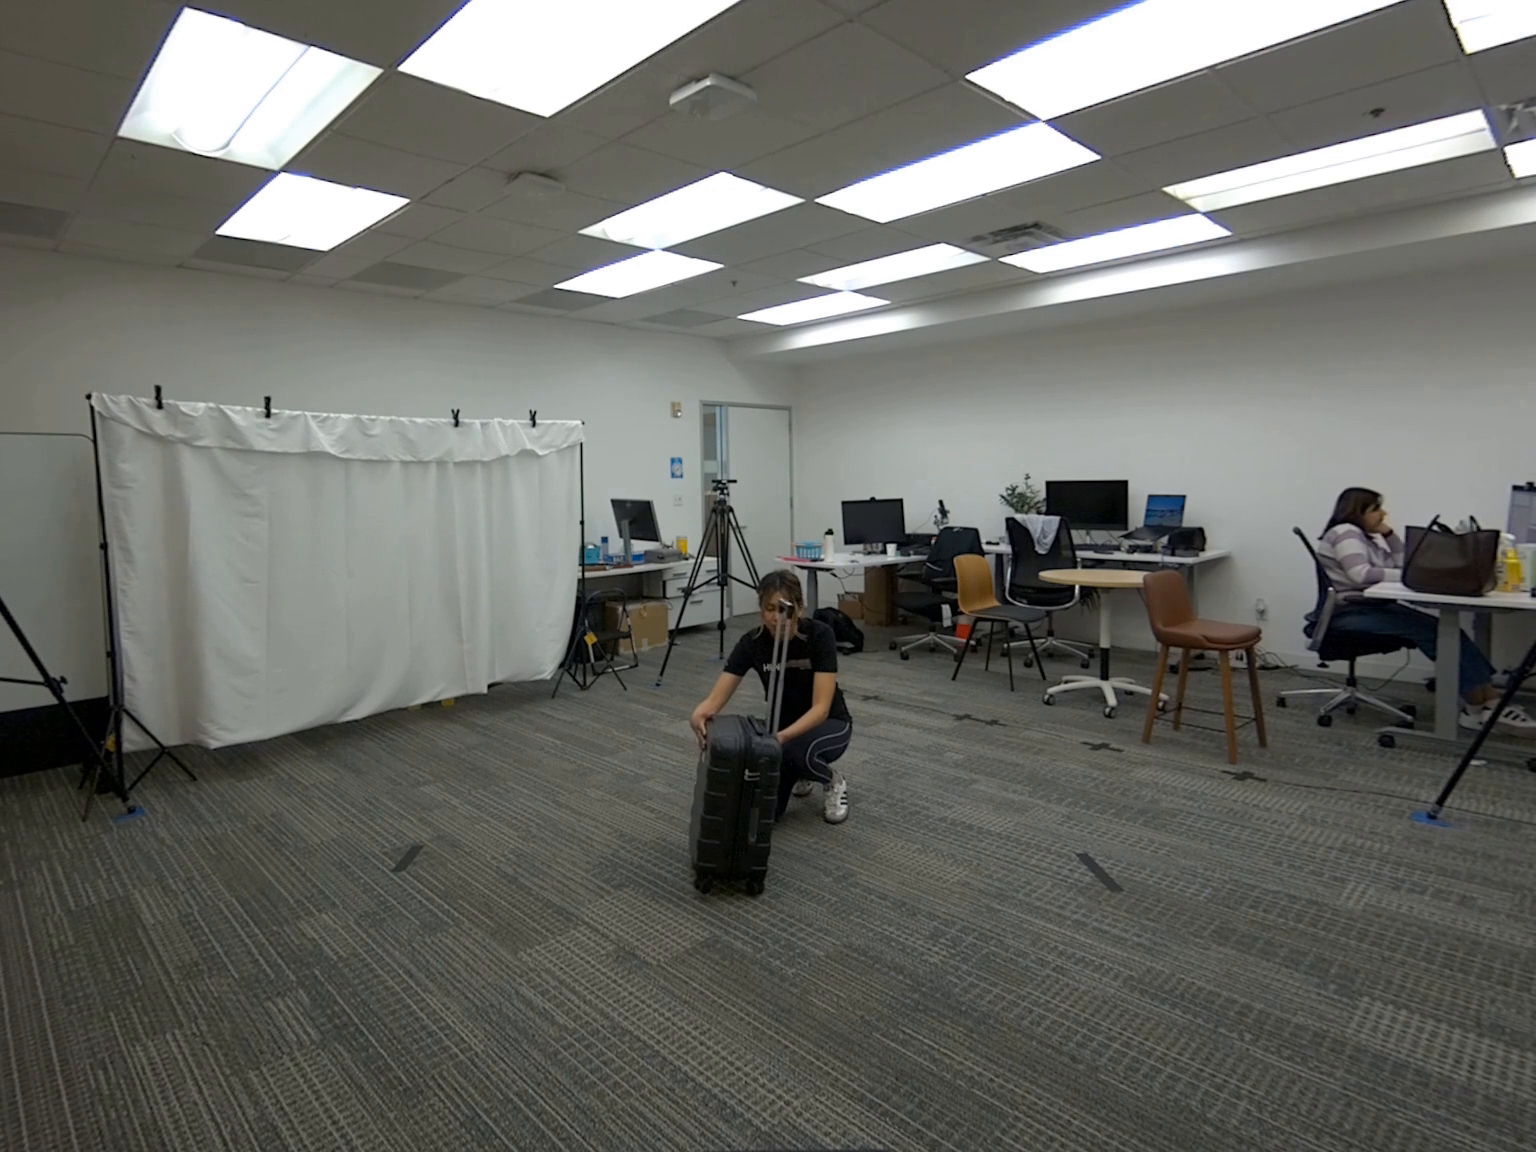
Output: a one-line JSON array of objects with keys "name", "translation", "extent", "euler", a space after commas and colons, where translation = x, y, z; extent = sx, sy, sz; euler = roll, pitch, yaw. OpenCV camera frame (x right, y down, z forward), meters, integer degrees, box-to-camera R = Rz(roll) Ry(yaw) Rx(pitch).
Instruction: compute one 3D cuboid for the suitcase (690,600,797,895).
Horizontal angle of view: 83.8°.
[{"name": "suitcase", "translation": [-0.100, 0.582, 2.978], "extent": [0.256, 0.976, 0.387], "euler": [7, 3, -6]}]
